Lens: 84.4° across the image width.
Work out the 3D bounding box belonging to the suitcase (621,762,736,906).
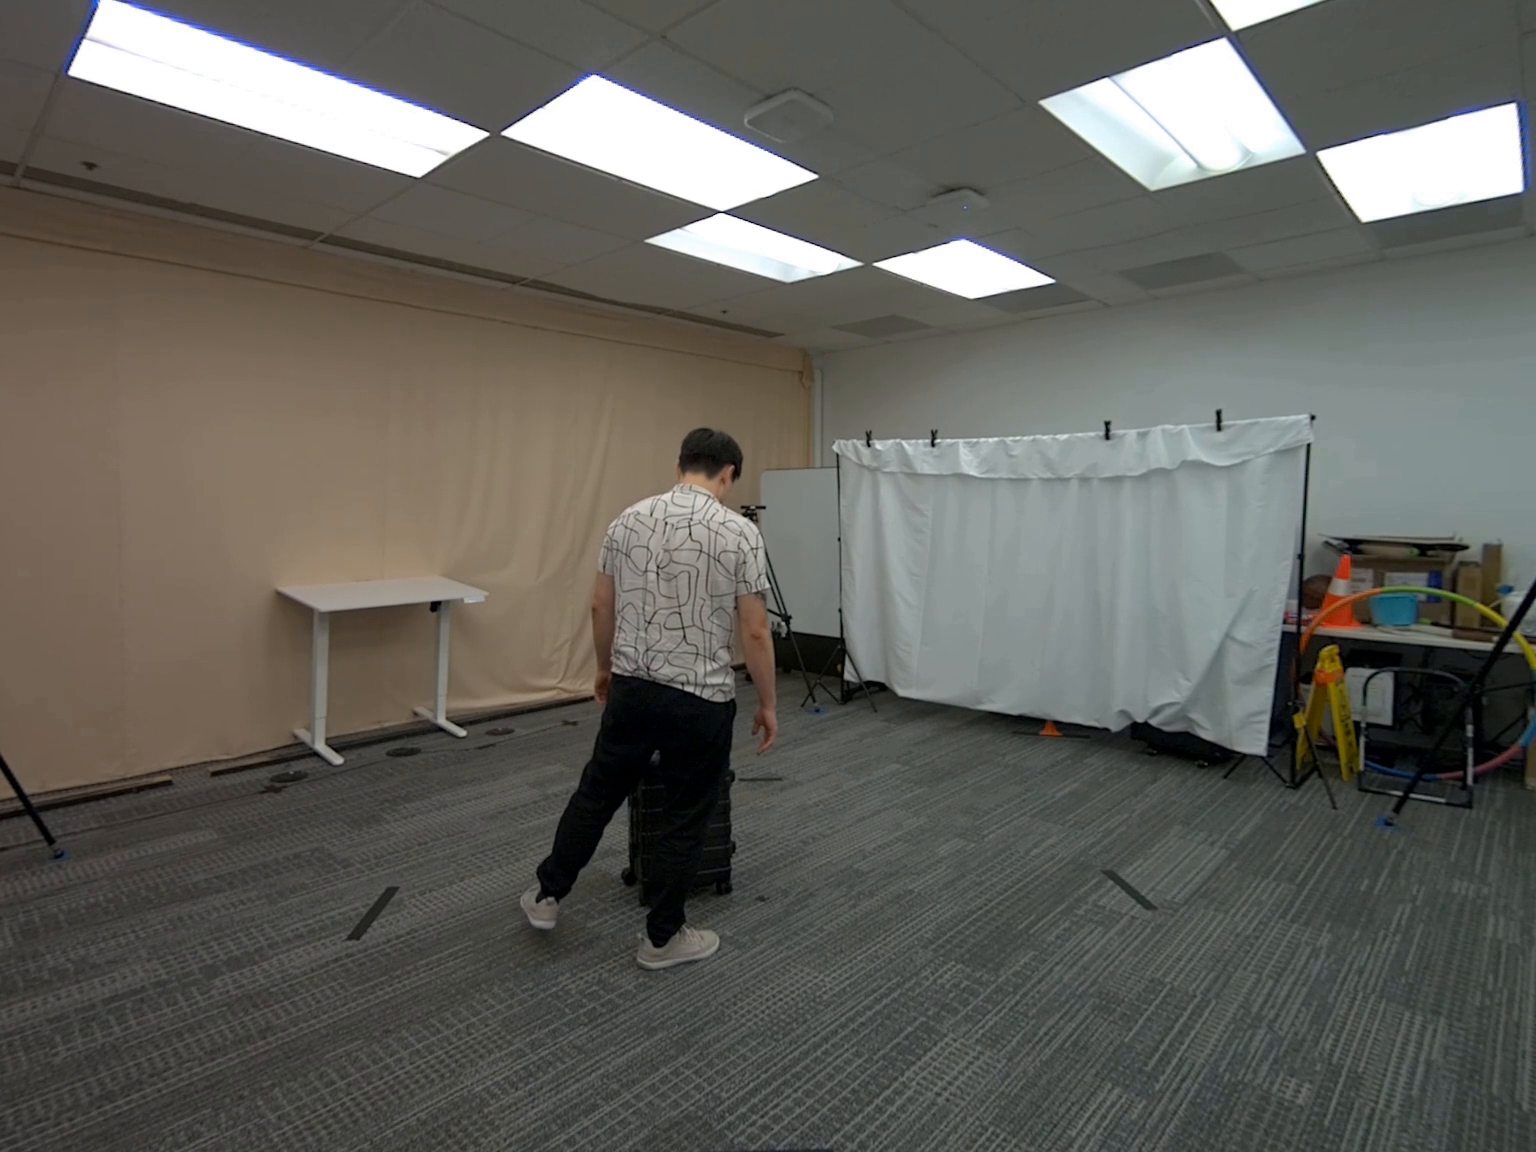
[{"bbox_3d":[-0.324,0.862,3.048,0.367,0.548,0.254,-2,3,-22],"label":"suitcase"}]
